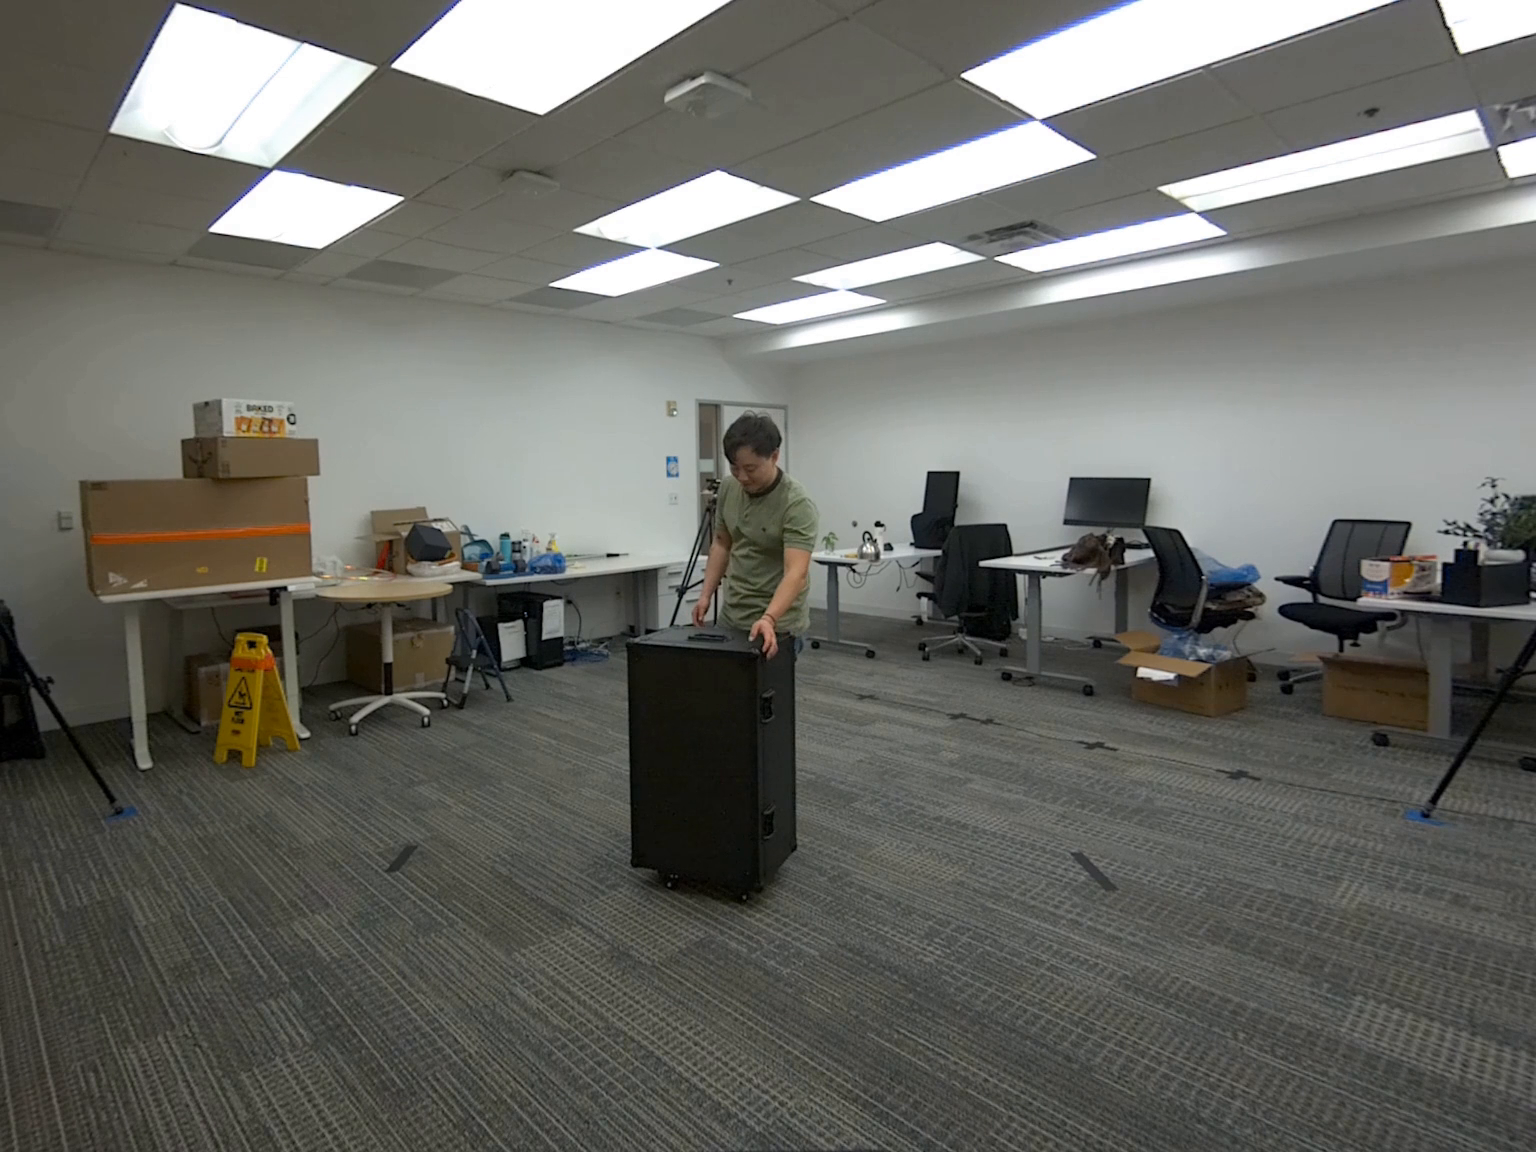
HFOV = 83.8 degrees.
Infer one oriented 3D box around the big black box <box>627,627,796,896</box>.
[{"bbox_3d":[-0.189,0.632,2.986,0.533,0.859,0.388,1,4,24],"label":"big black box"}]
